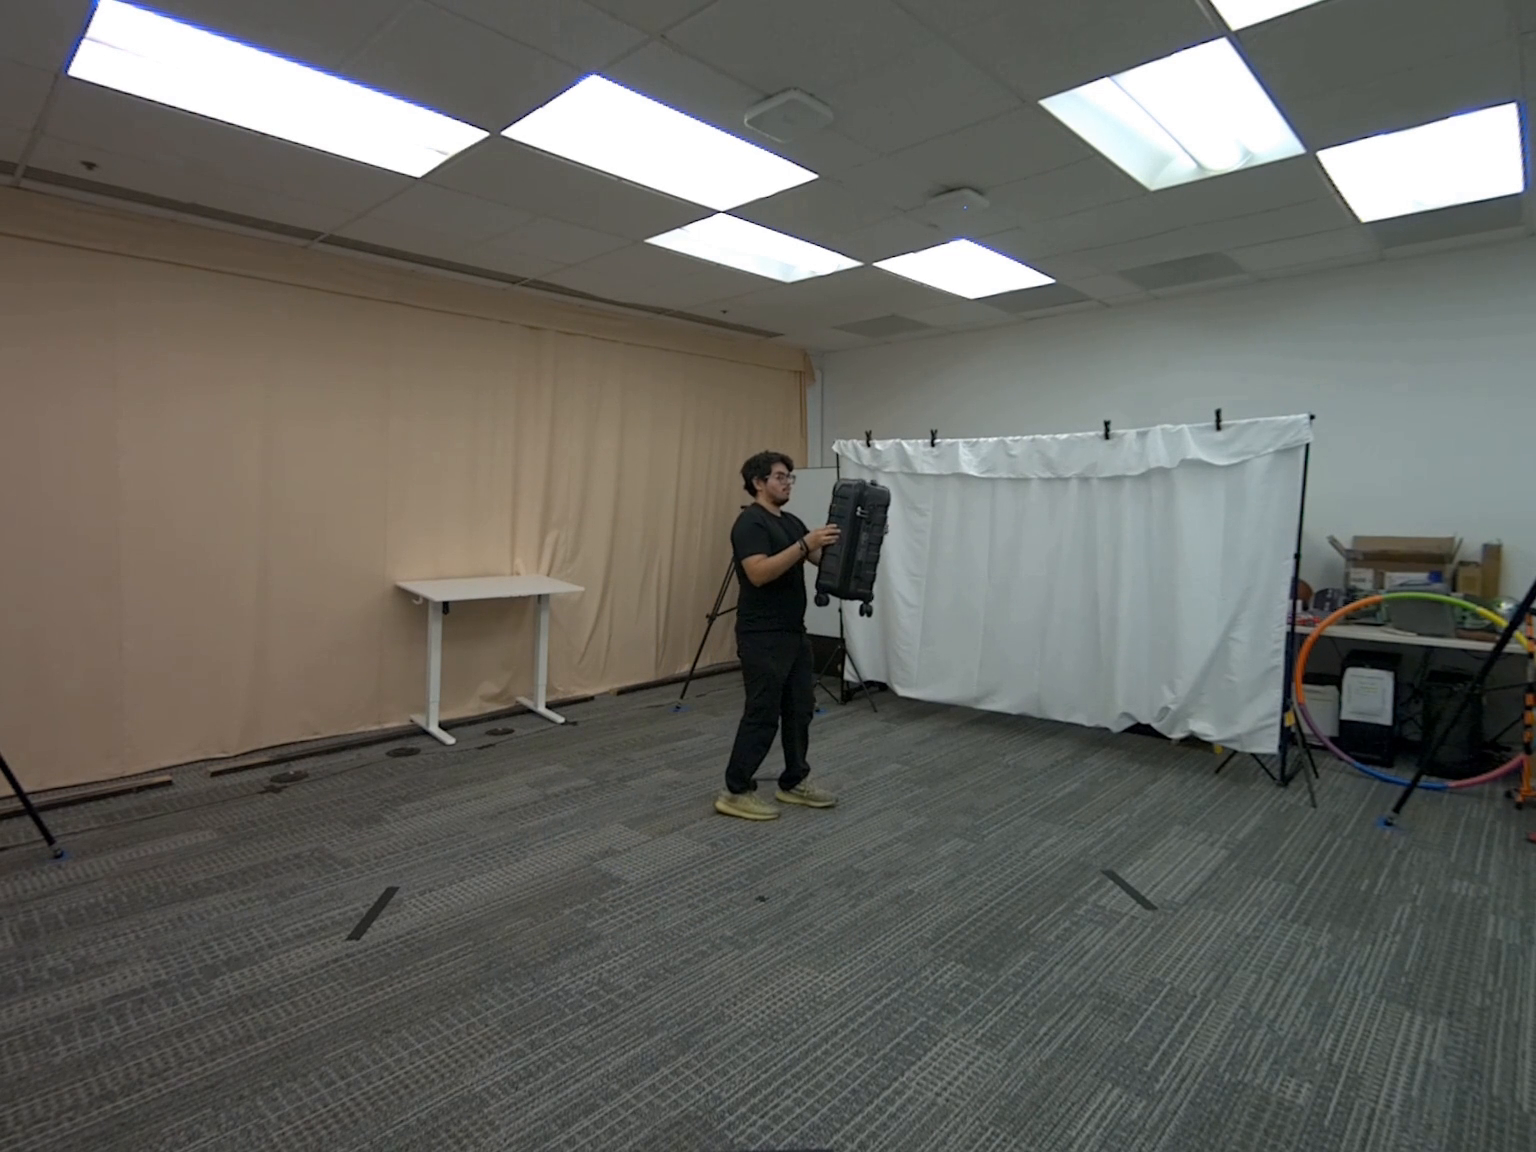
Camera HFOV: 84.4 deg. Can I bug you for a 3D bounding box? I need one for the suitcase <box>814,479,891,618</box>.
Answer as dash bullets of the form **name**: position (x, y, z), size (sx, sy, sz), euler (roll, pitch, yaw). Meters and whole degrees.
- **suitcase**: position (0.374, -0.150, 3.636), size (0.251, 0.547, 0.373), euler (10, 9, 8)
